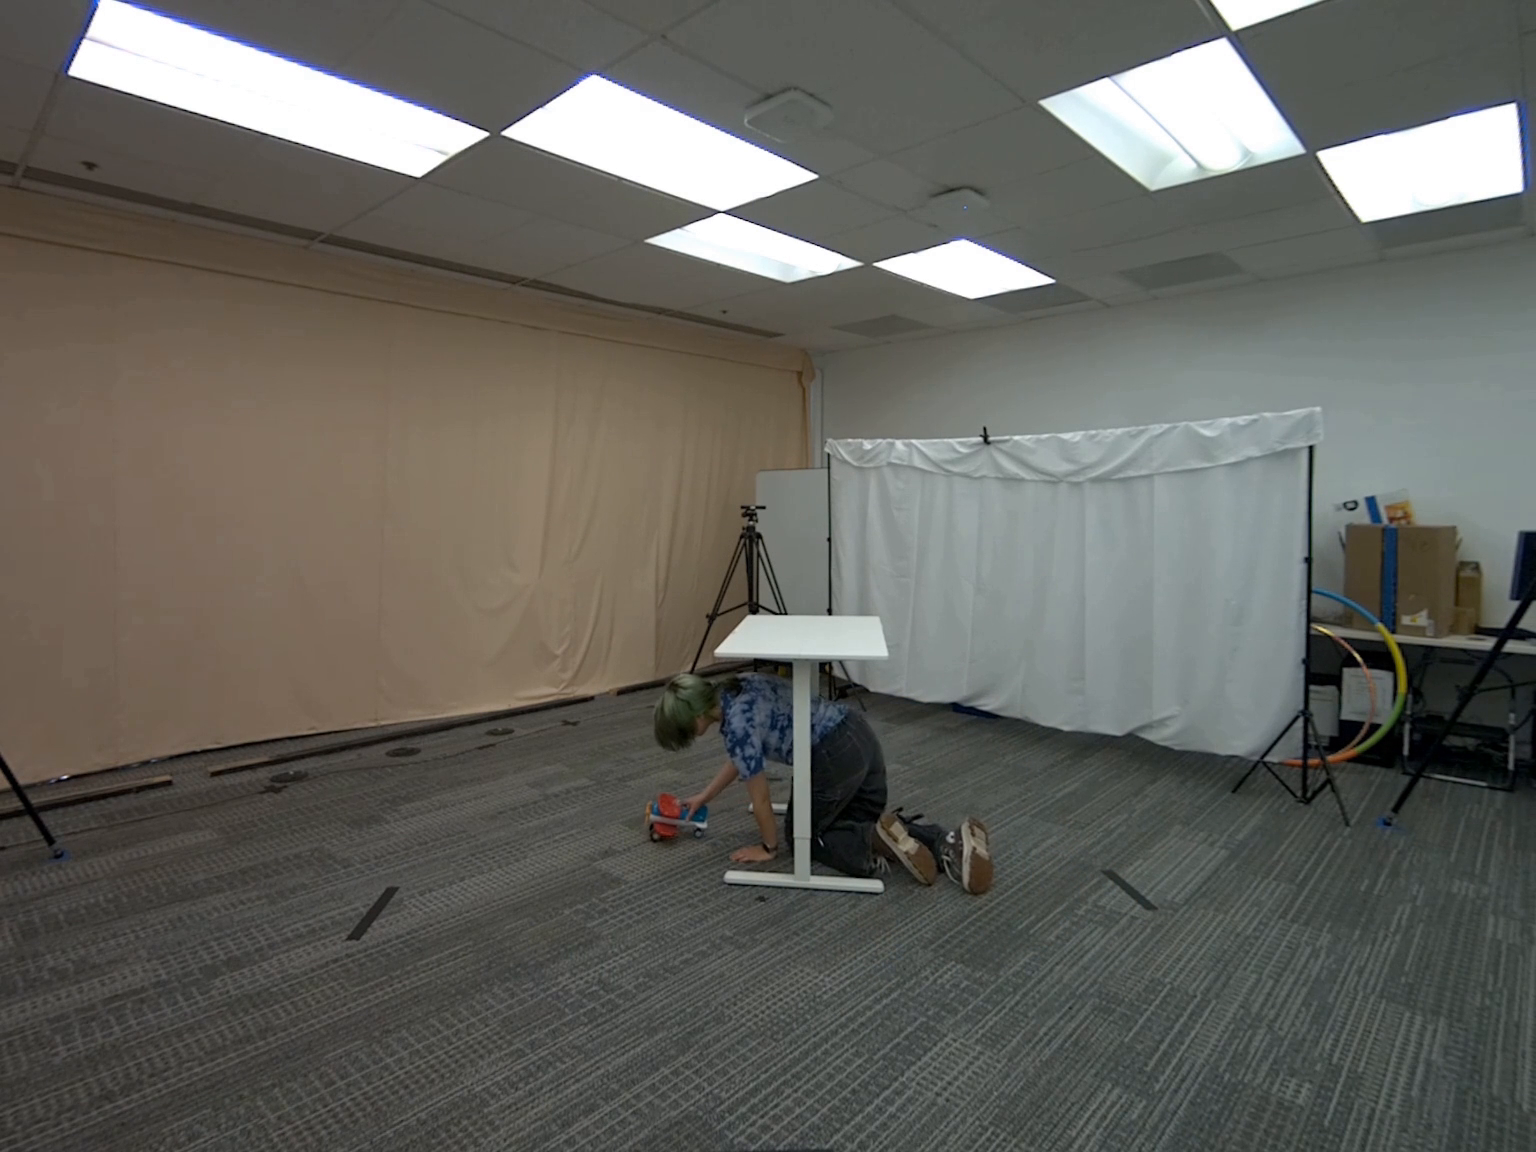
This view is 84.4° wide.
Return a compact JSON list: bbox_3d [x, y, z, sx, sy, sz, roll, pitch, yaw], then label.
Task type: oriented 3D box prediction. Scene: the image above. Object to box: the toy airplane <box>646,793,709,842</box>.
[{"bbox_3d":[-0.389,1.026,3.570,0.252,0.156,0.259,-5,5,-35],"label":"toy airplane"}]
